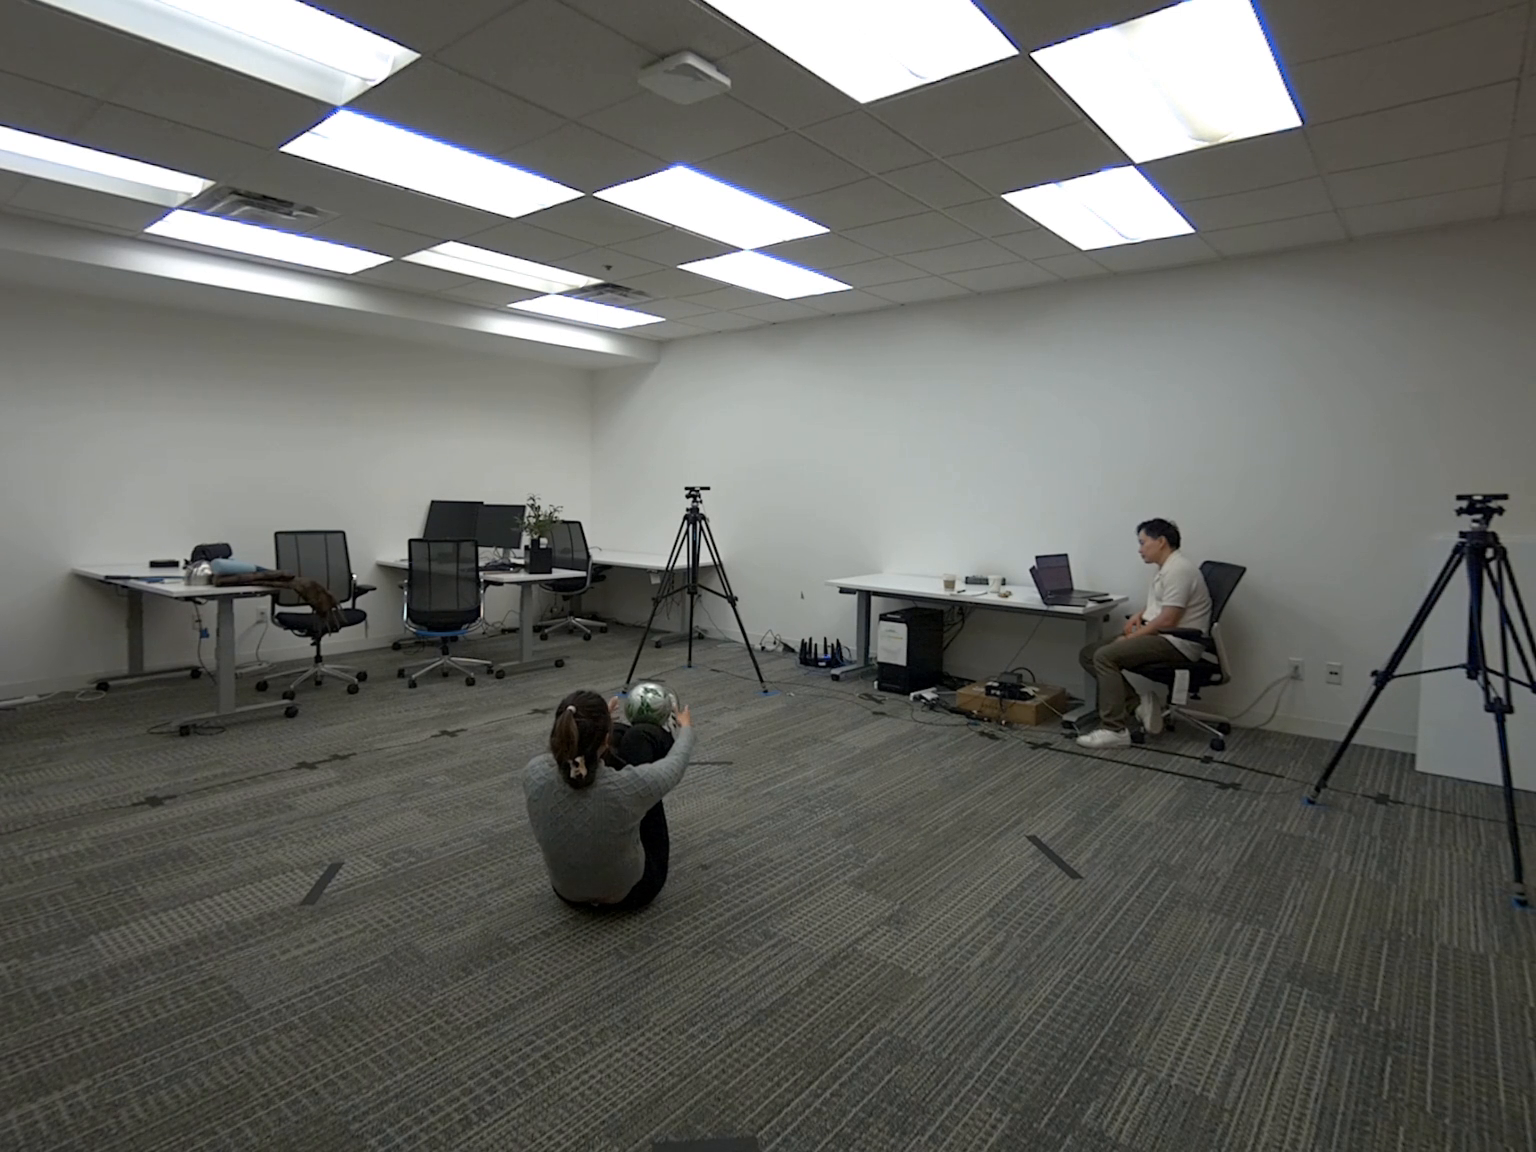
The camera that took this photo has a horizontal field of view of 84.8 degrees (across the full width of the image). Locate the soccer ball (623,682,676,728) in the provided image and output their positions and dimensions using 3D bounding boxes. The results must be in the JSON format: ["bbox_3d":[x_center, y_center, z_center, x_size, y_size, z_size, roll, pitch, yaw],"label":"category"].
[{"bbox_3d":[-0.476,0.514,3.335,0.187,0.187,0.188,0,4,-2],"label":"soccer ball"}]
